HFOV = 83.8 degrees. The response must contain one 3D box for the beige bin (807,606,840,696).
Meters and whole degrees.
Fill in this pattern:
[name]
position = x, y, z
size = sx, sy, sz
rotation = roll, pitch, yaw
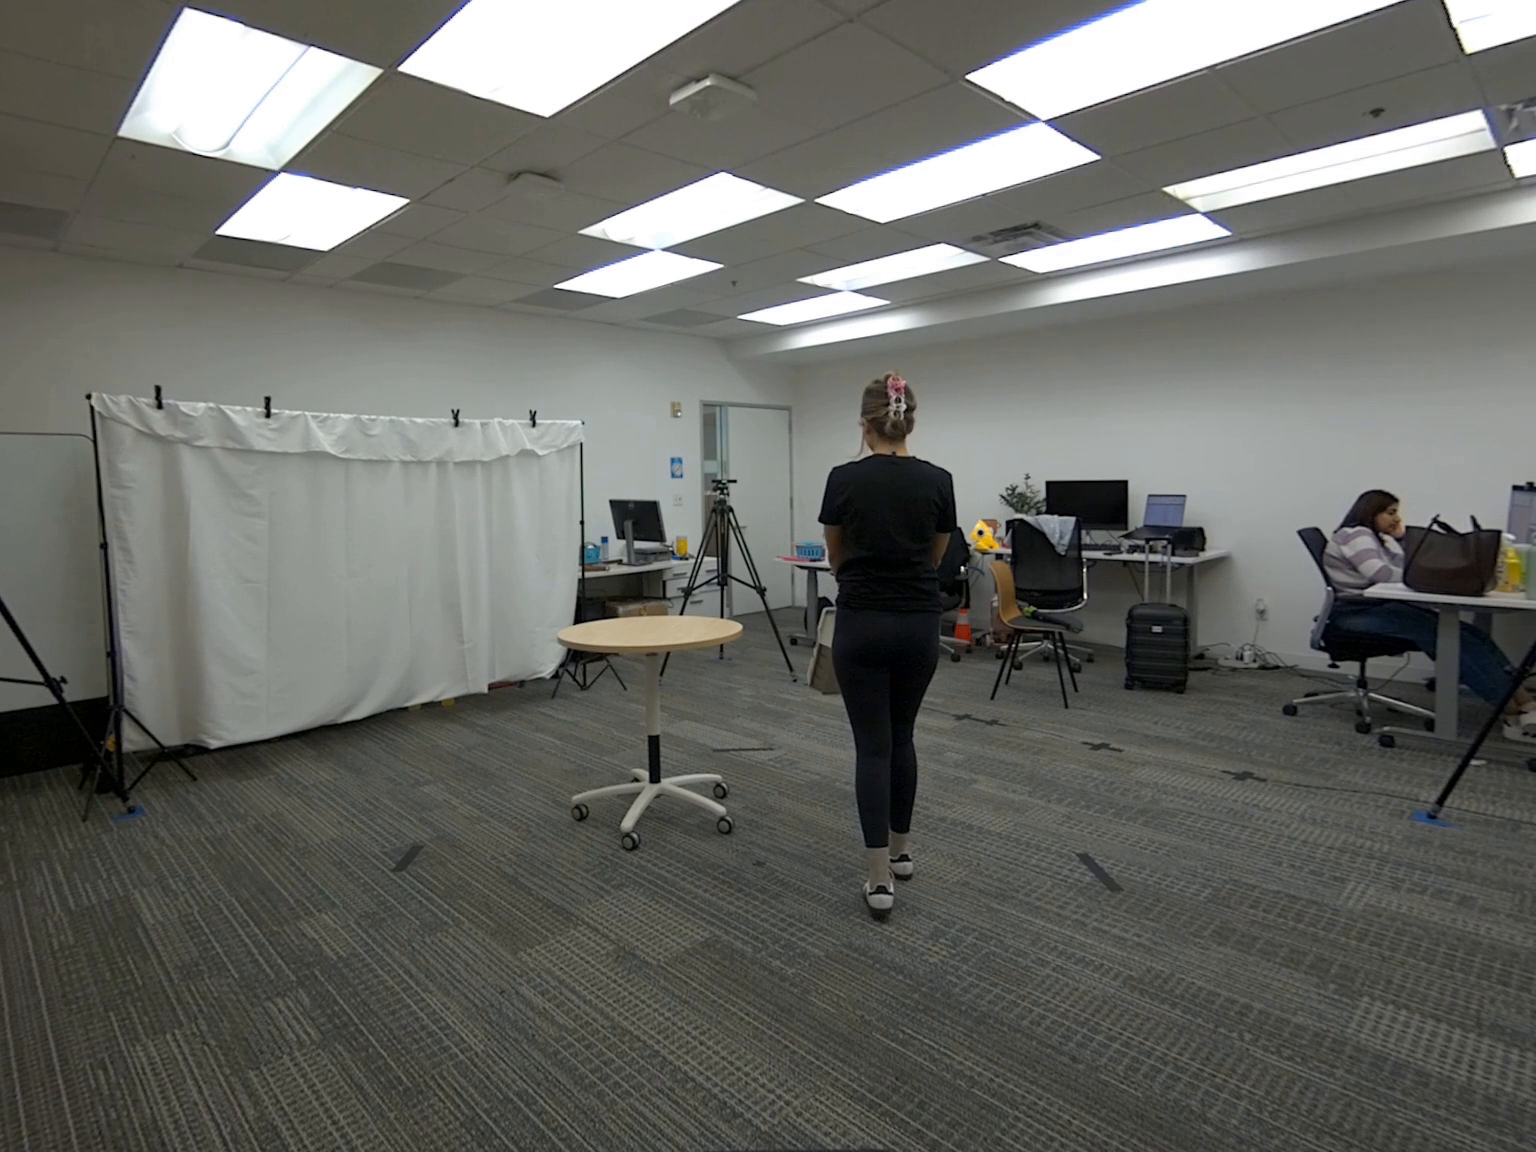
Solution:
[beige bin]
position = 0.374, 0.303, 3.368
size = 0.376, 0.194, 0.412
rotation = 0, -33, -3
